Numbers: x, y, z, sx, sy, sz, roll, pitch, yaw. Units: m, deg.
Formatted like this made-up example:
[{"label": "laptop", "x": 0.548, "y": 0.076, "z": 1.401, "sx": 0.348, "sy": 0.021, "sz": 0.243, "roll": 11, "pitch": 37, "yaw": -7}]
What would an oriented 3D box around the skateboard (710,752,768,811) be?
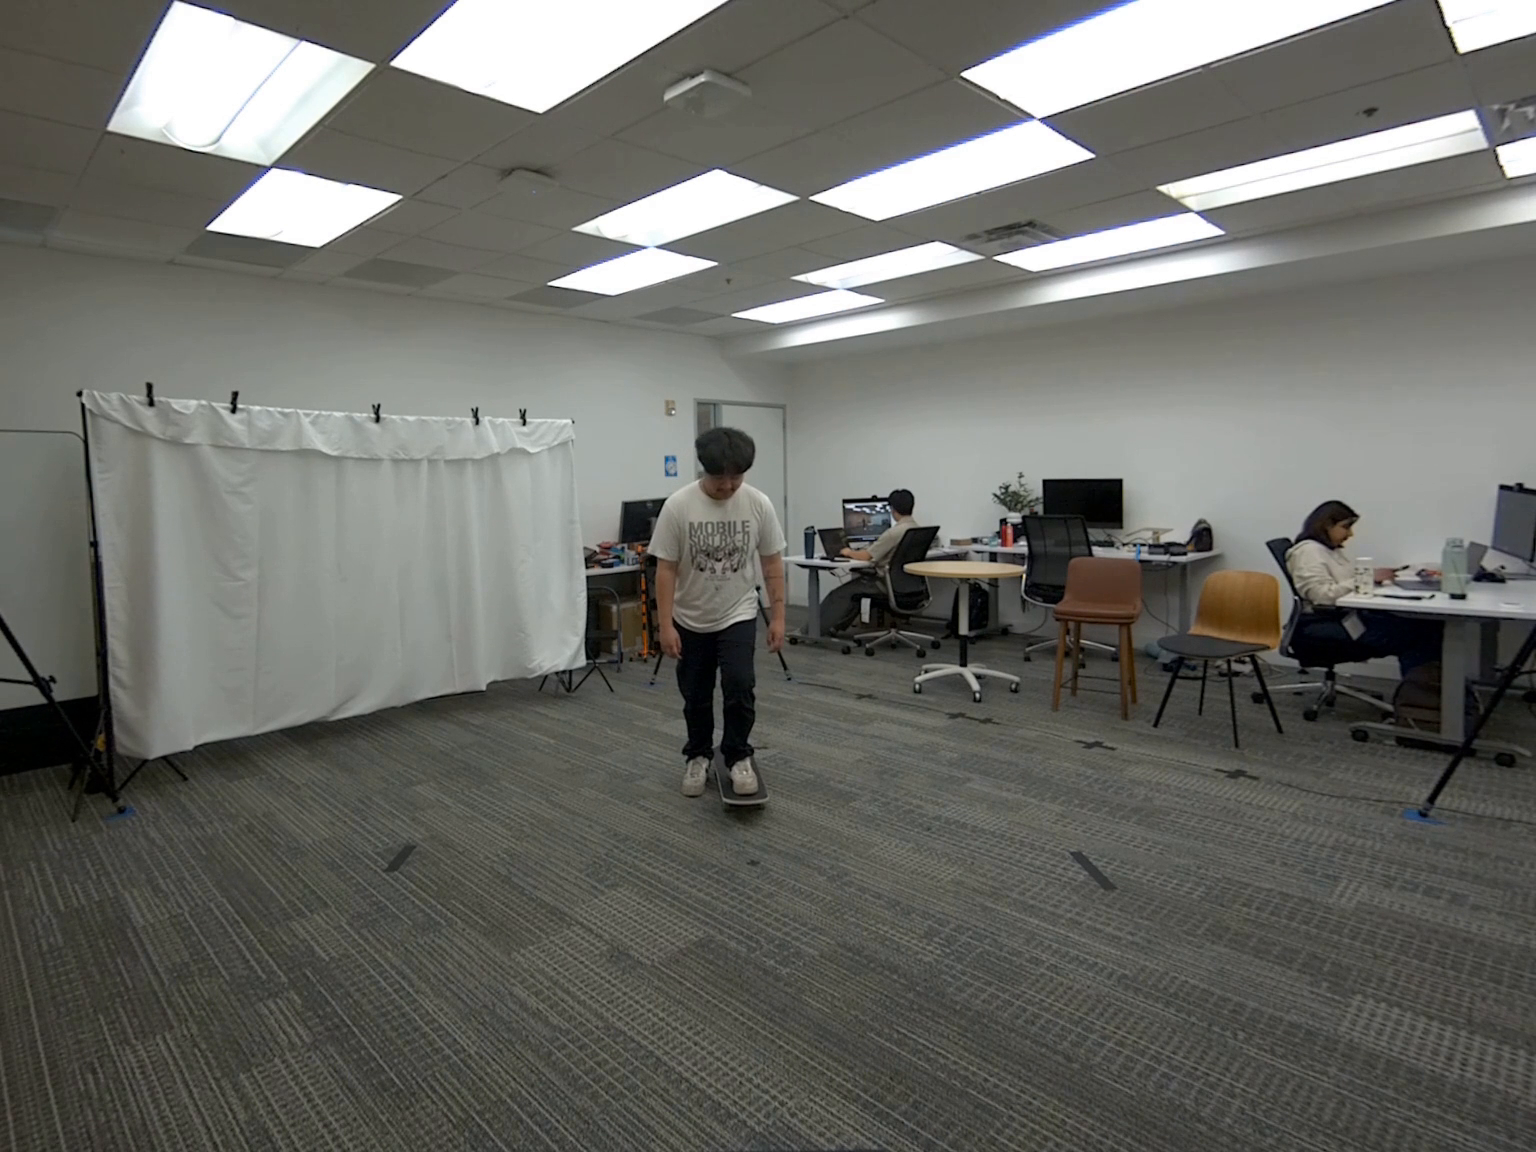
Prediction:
[{"label": "skateboard", "x": -0.128, "y": 0.907, "z": 3.811, "sx": 0.192, "sy": 0.110, "sz": 0.793, "roll": -2, "pitch": 7, "yaw": -7}]
